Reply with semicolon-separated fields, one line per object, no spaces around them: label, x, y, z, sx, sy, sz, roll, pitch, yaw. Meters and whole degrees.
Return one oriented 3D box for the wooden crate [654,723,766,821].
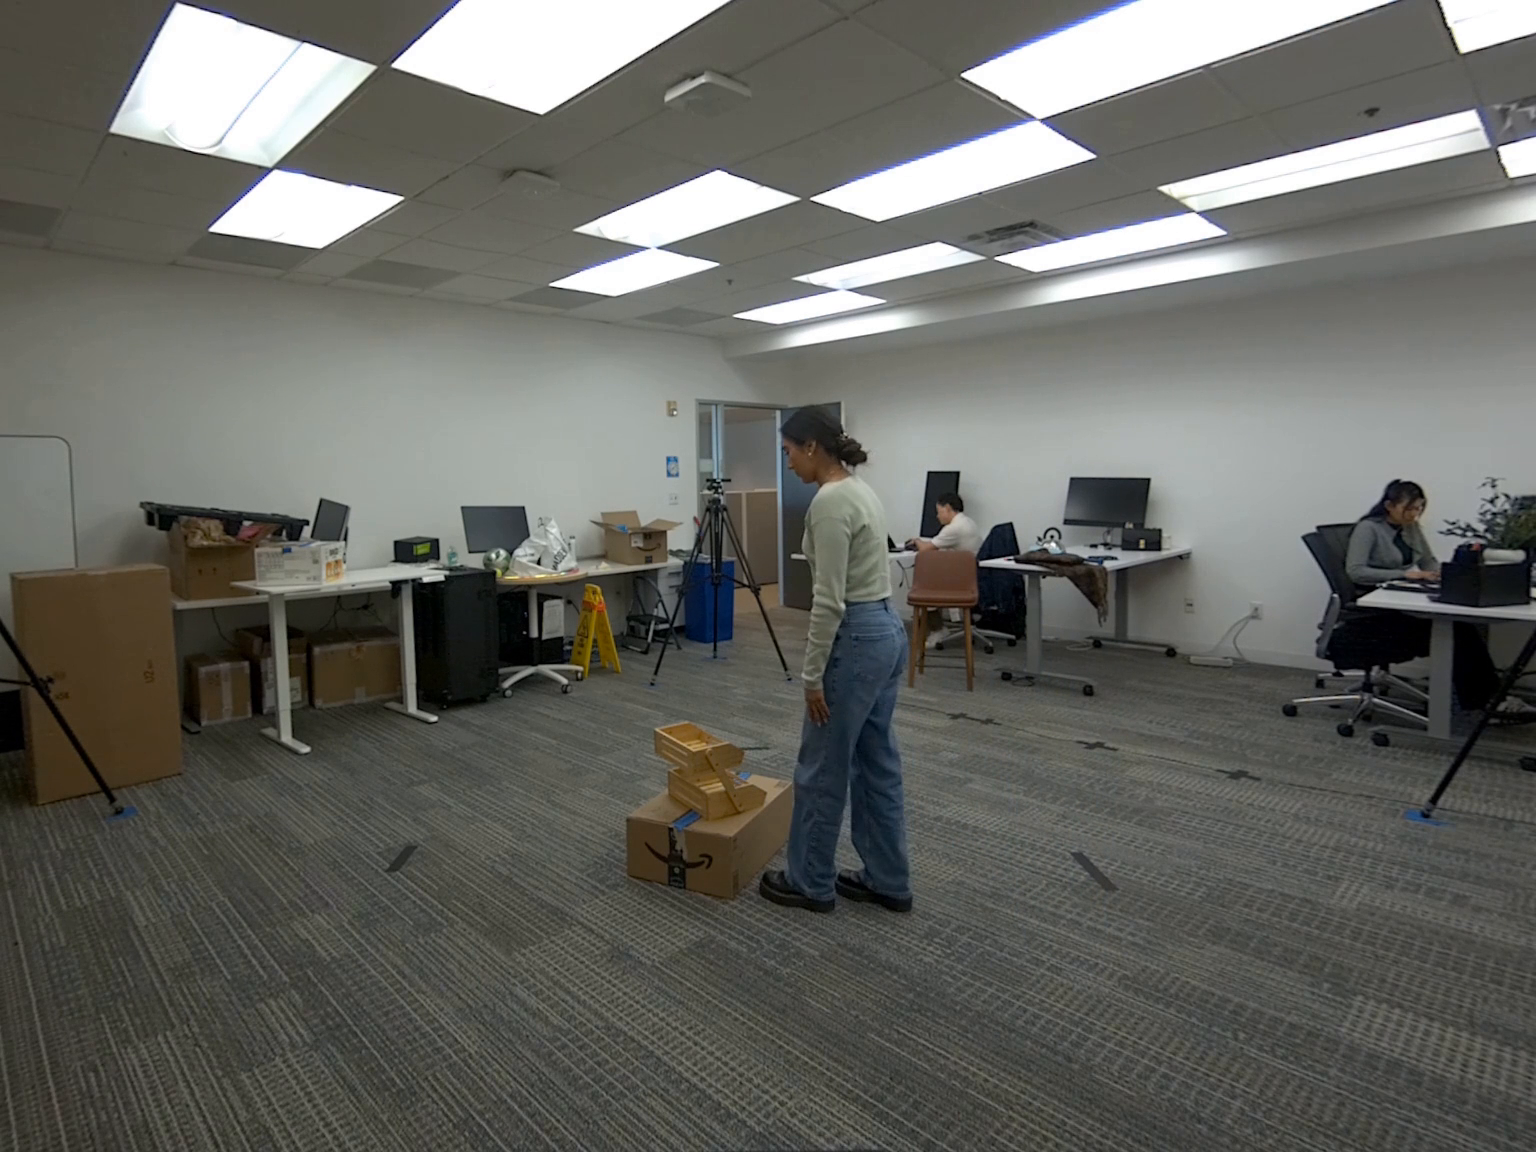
wooden crate;-0.210;0.696;3.139;0.295;0.272;0.334;-6;8;-33
